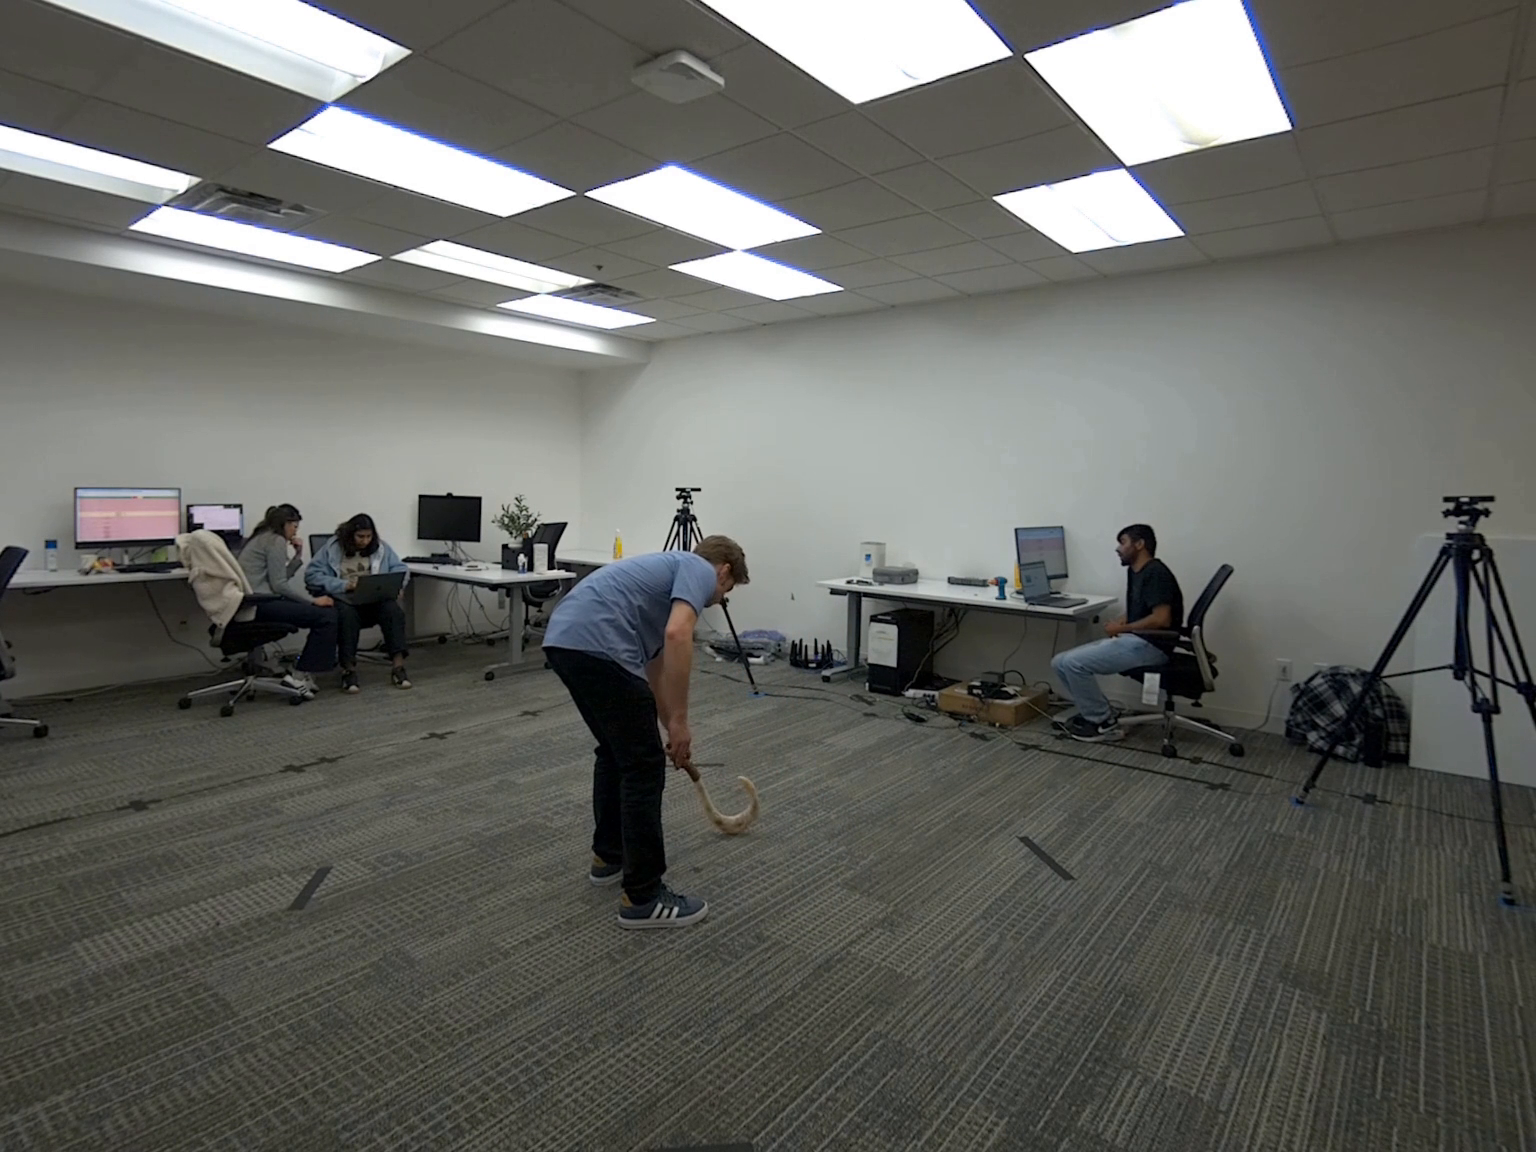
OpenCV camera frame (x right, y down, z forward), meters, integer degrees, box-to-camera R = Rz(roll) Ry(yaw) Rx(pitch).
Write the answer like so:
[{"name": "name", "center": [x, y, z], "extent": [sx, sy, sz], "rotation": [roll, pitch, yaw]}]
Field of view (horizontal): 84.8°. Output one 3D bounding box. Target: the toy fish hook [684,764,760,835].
[{"name": "toy fish hook", "center": [-0.234, 0.811, 3.393], "extent": [0.224, 0.497, 0.049], "rotation": [-38, 14, -8]}]
